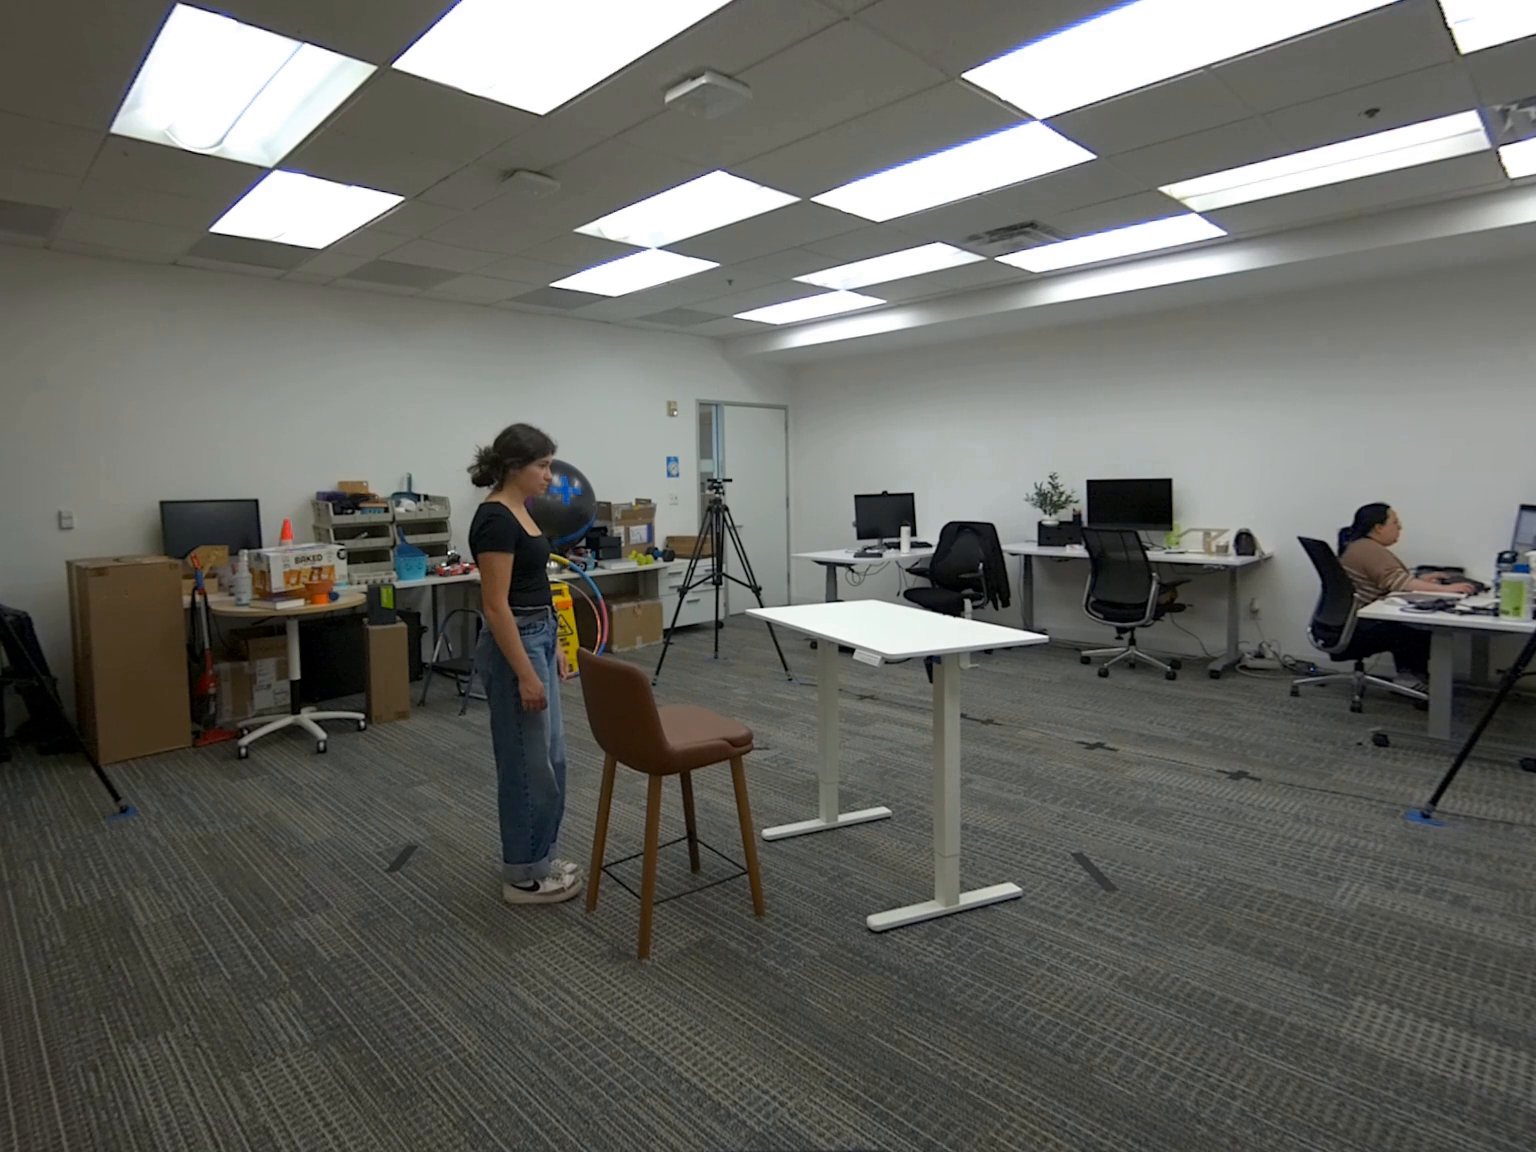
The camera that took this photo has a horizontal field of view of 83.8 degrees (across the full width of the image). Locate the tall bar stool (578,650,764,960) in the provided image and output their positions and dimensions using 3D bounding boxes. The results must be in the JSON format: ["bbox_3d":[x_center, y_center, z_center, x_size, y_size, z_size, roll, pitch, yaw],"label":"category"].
[{"bbox_3d":[-0.319,0.657,2.736,0.456,0.885,0.470,-7,7,-36],"label":"tall bar stool"}]
